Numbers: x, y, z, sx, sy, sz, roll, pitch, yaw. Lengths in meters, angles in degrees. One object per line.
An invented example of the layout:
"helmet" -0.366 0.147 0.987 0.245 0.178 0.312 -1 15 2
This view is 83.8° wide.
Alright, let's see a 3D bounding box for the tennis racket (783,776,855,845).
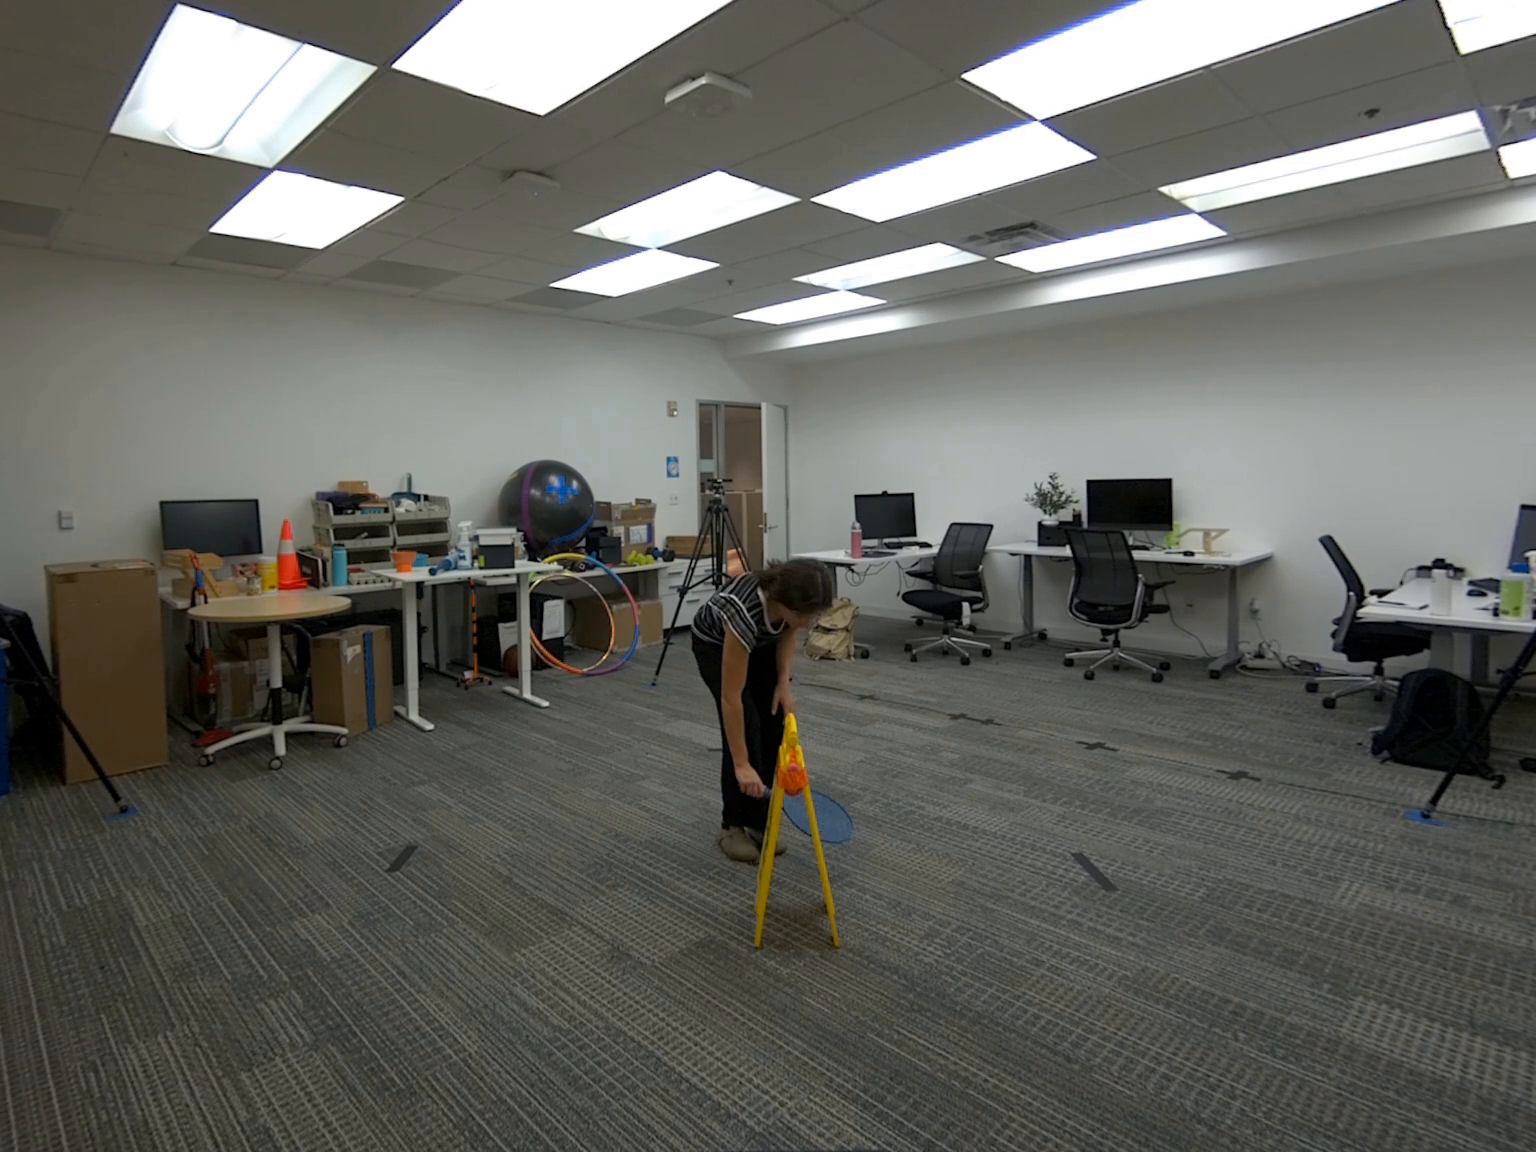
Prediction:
"tennis racket" 0.100 0.799 2.994 0.429 0.031 0.218 22 30 -7
